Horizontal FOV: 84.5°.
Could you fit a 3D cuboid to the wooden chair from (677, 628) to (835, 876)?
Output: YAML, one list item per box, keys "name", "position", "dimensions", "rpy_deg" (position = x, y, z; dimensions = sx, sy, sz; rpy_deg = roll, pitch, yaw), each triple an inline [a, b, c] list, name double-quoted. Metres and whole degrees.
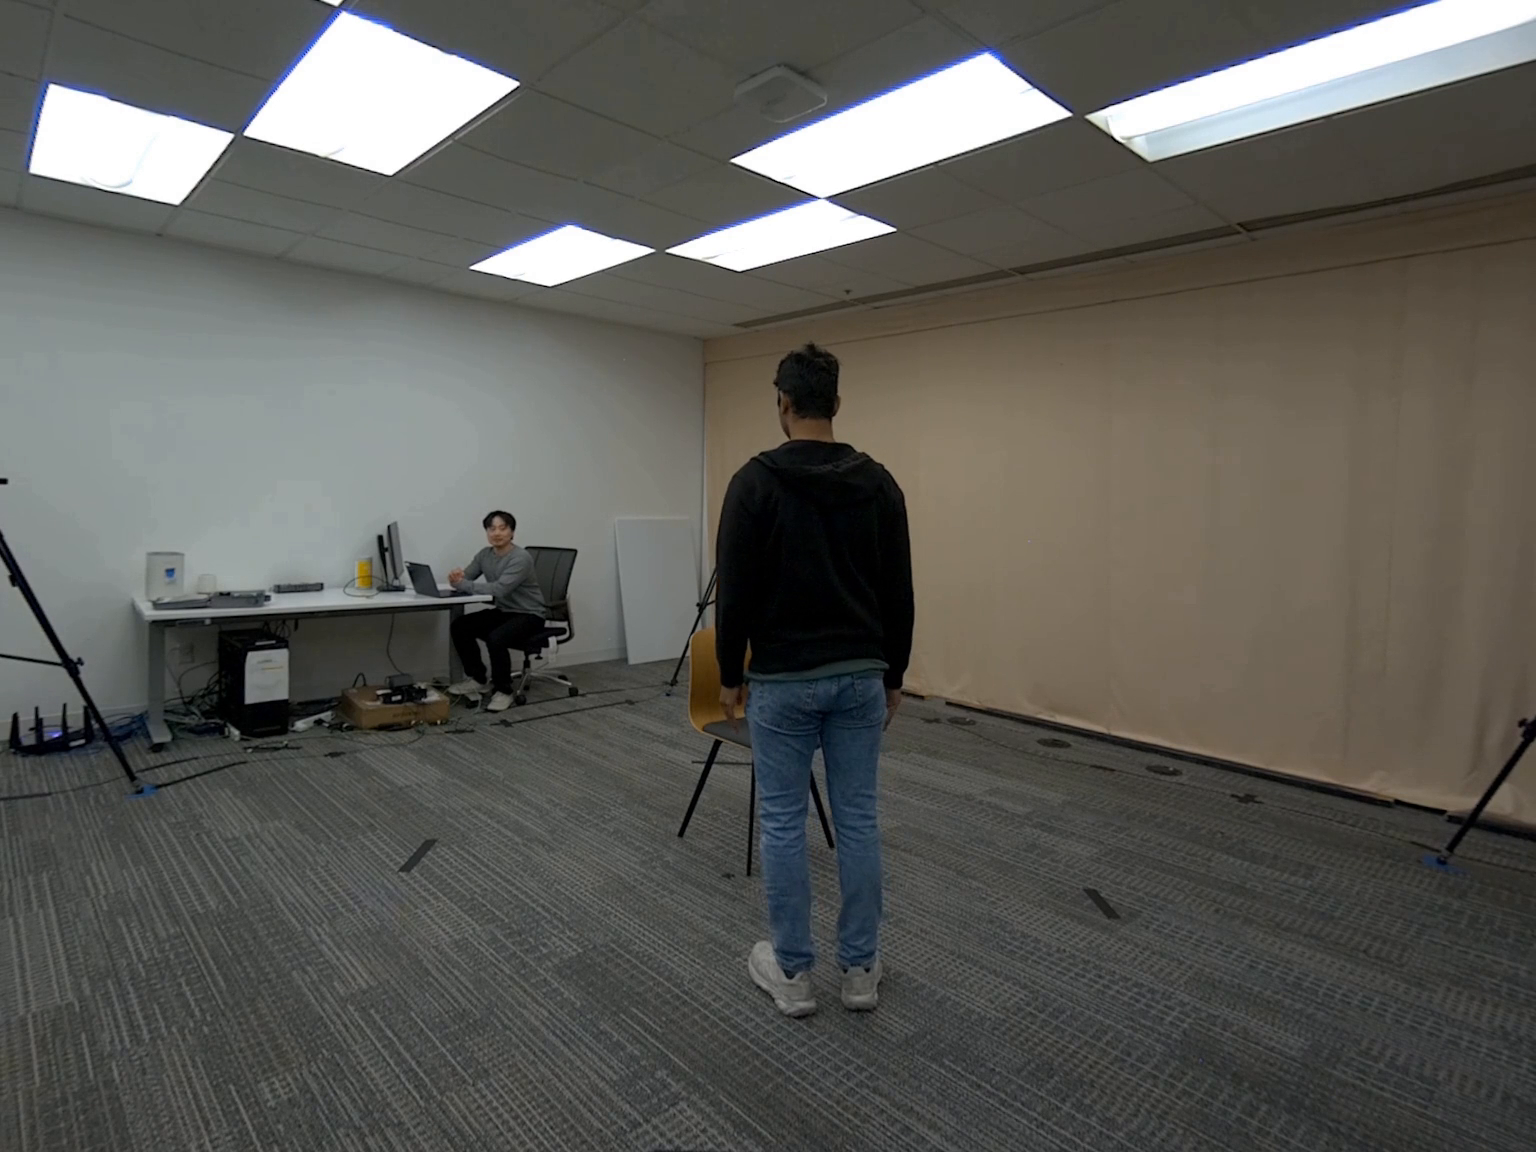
- name: "wooden chair"
  position: [-0.045, 0.658, 3.374]
  dimensions: [0.467, 0.878, 0.535]
  rpy_deg: [0, -1, -40]
